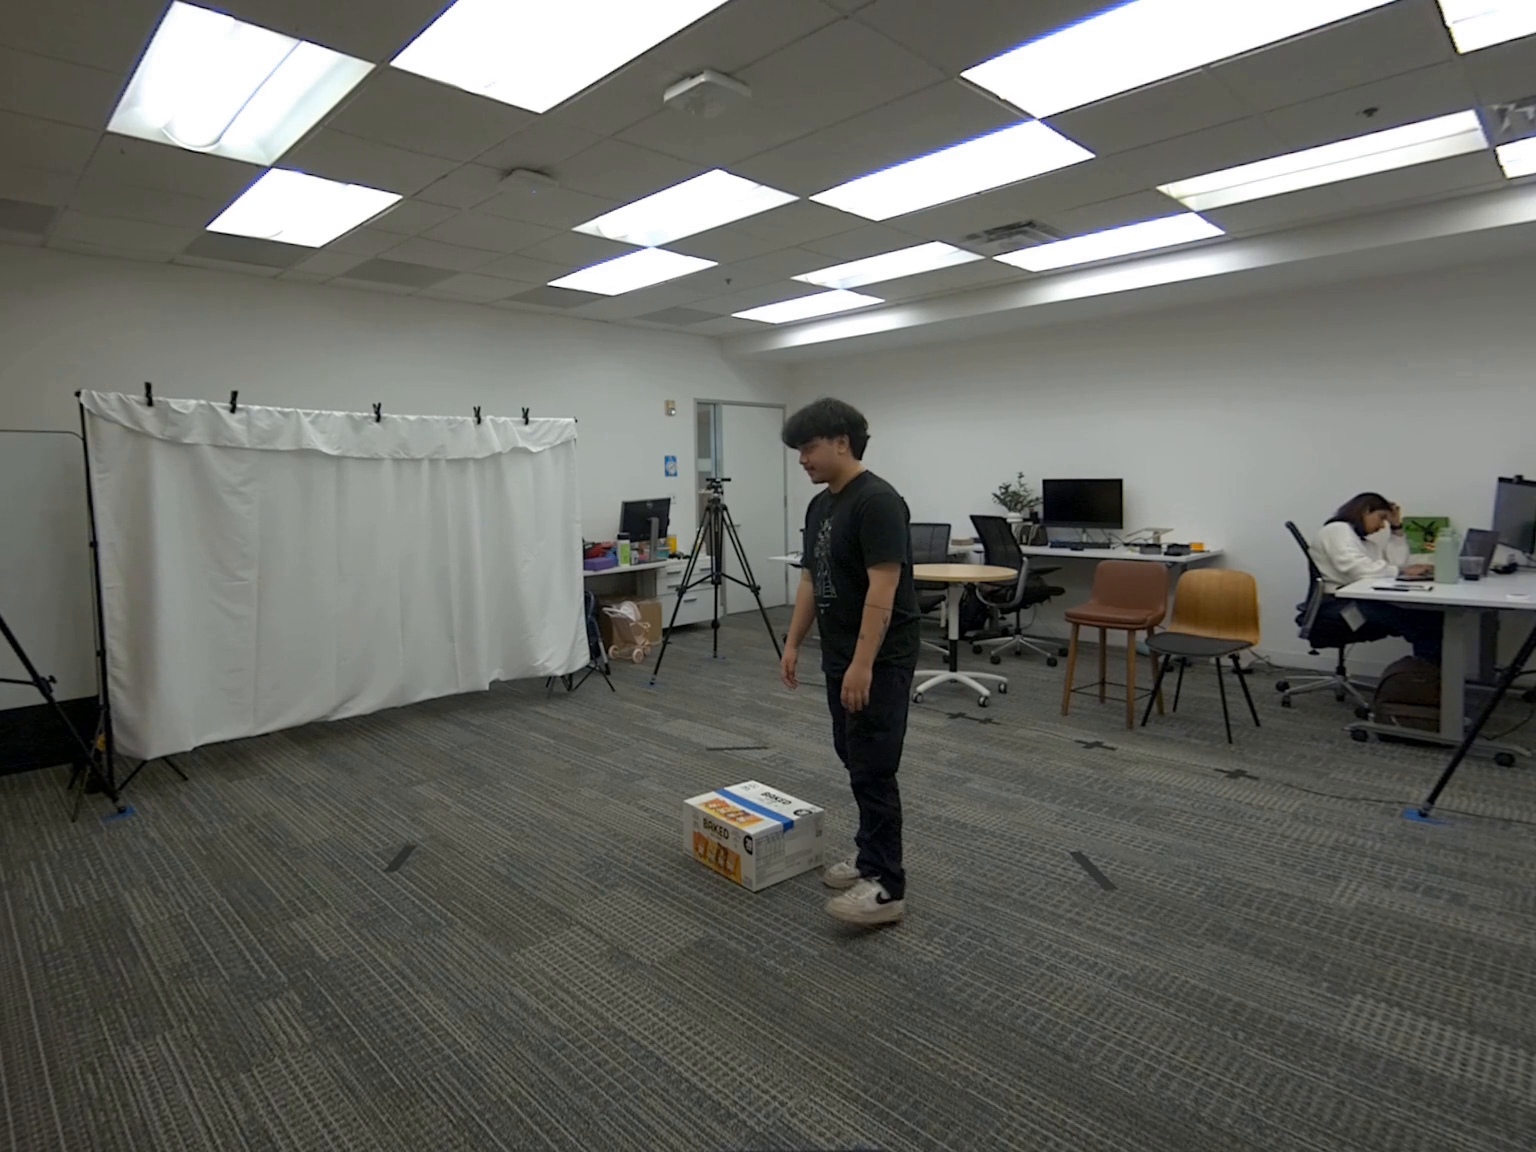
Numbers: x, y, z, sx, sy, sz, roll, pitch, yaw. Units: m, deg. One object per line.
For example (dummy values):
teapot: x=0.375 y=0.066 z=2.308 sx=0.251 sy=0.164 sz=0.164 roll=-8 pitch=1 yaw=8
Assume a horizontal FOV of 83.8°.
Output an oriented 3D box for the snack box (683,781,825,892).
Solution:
snack box: x=-0.054 y=0.939 z=3.125 sx=0.331 sy=0.205 sz=0.417 roll=-6 pitch=7 yaw=-39
